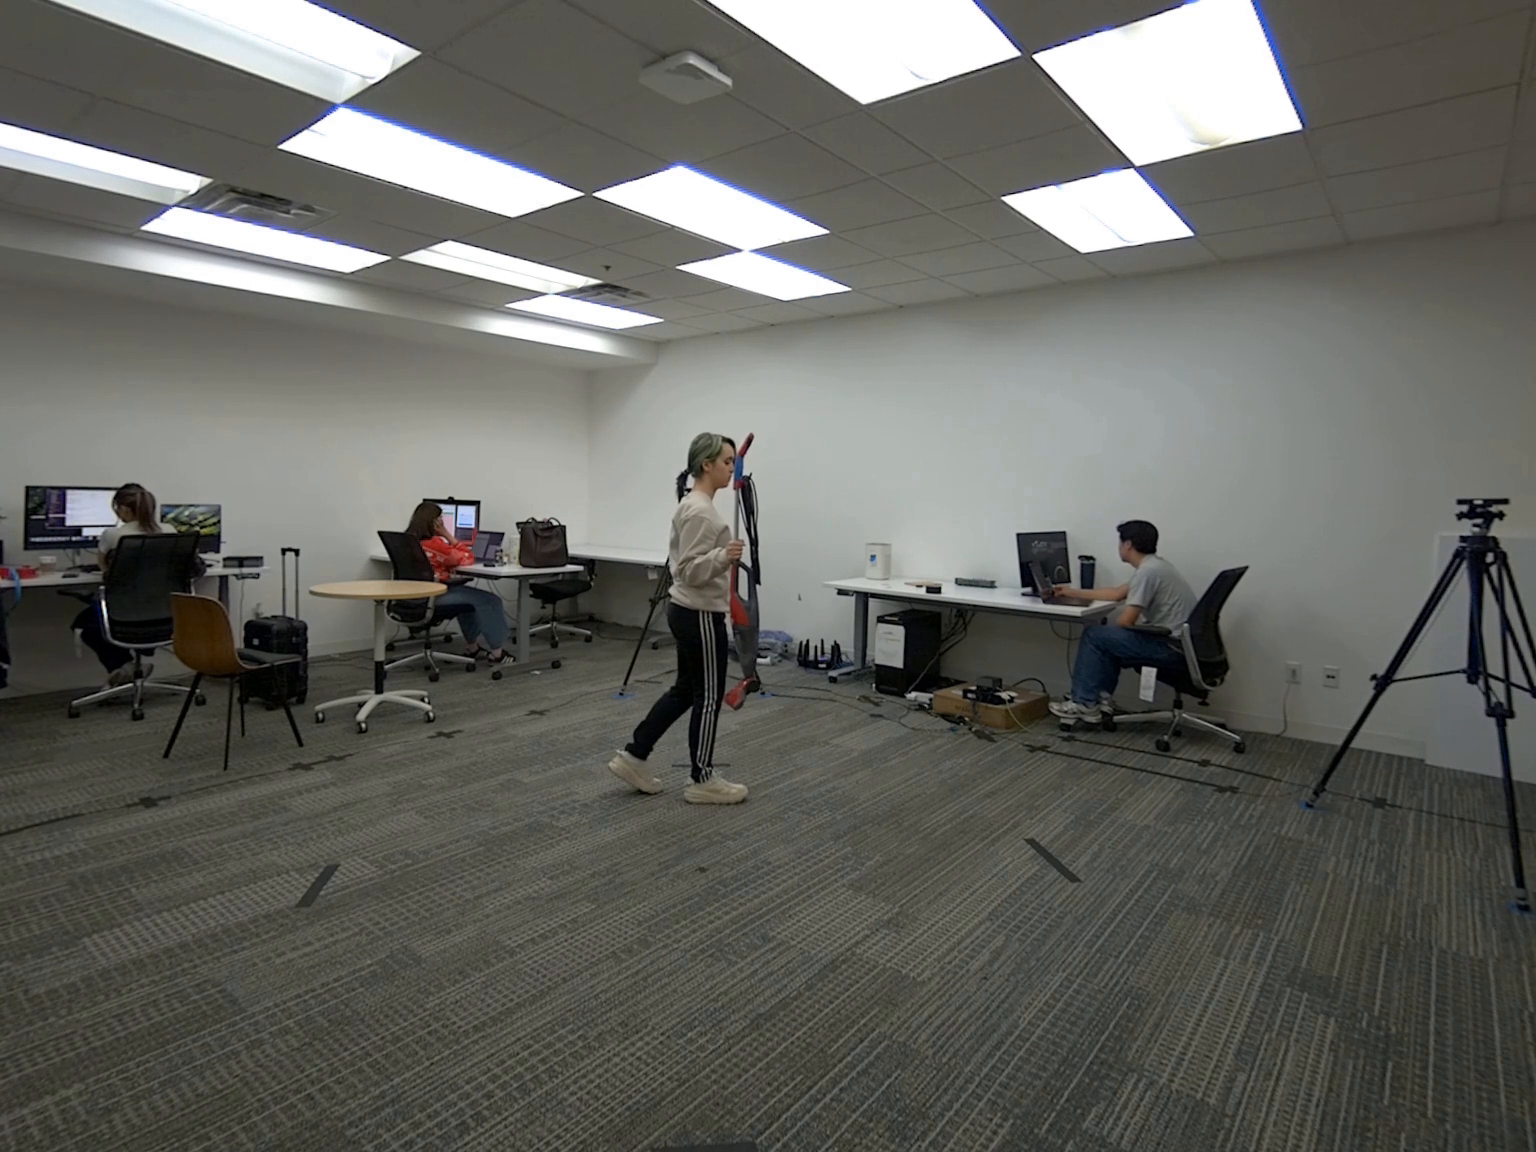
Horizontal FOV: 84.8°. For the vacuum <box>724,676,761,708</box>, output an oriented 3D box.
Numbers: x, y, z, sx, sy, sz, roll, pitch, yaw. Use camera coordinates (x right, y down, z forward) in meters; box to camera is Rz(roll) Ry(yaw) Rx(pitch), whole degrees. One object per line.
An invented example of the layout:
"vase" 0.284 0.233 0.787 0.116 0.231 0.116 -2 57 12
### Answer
"vacuum" -0.103 -0.043 3.451 0.140 1.053 0.259 3 -4 -29
